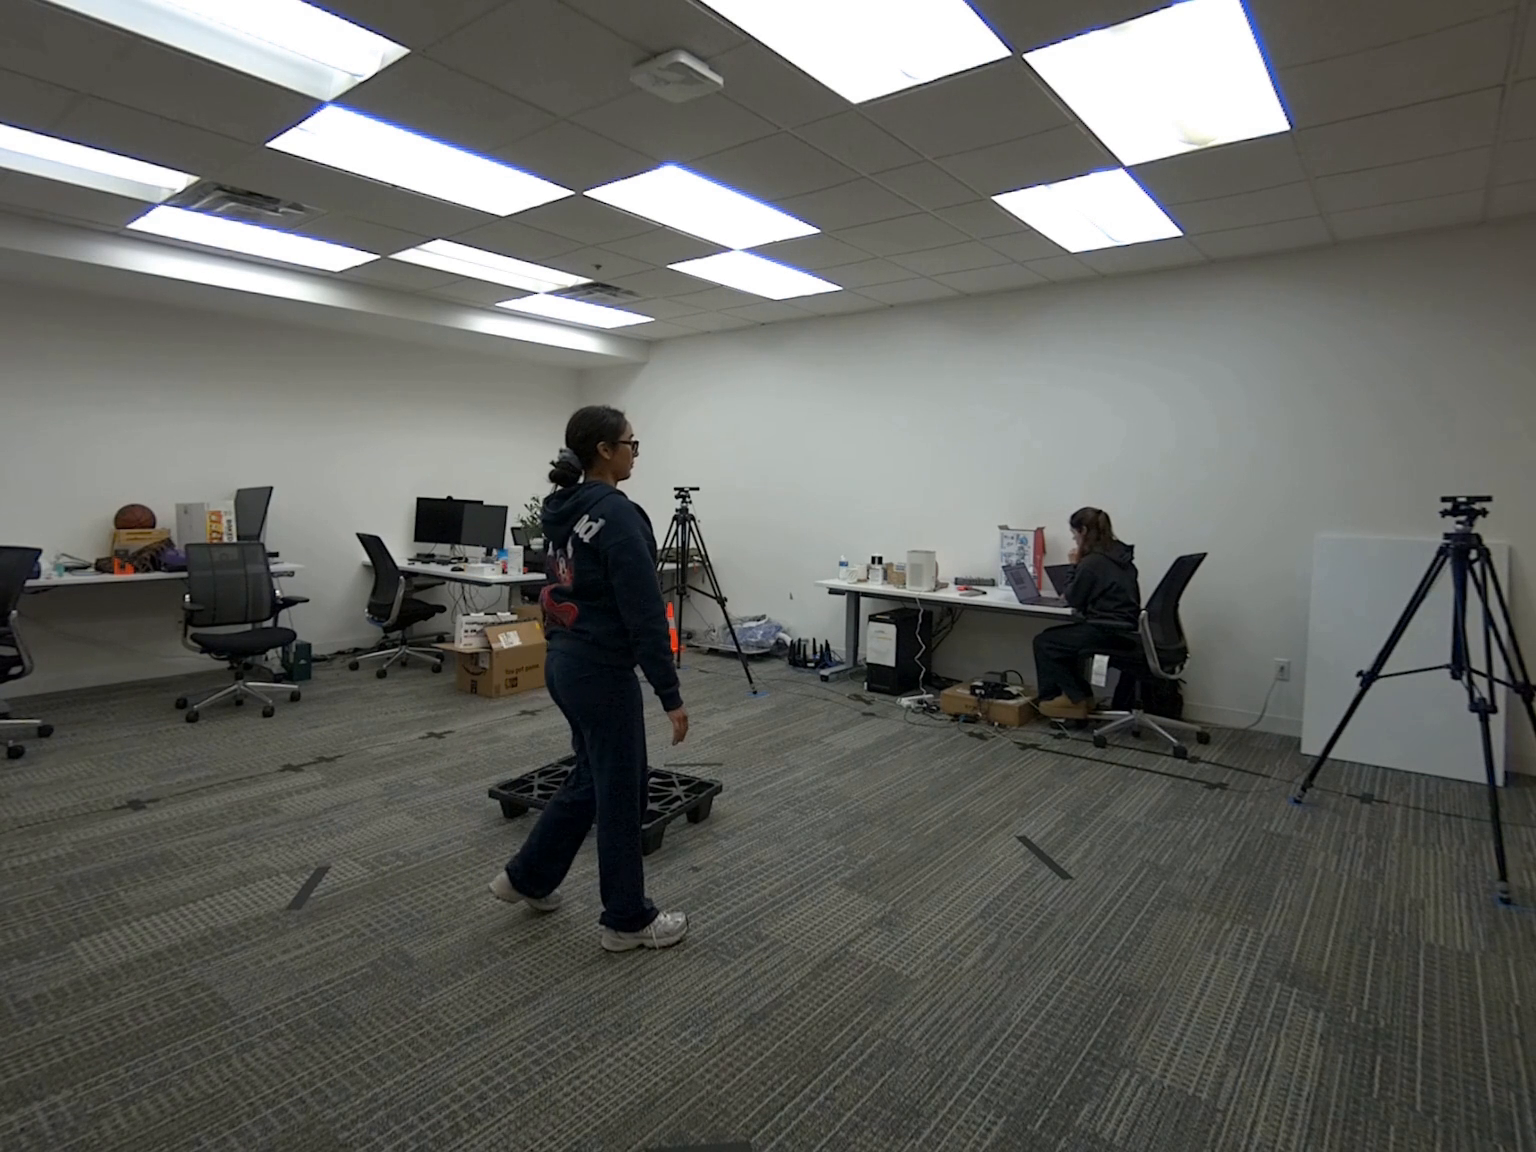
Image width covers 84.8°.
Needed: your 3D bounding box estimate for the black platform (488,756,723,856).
[{"bbox_3d":[-0.689,0.947,3.582,0.828,0.143,0.591,4,6,28],"label":"black platform"}]
